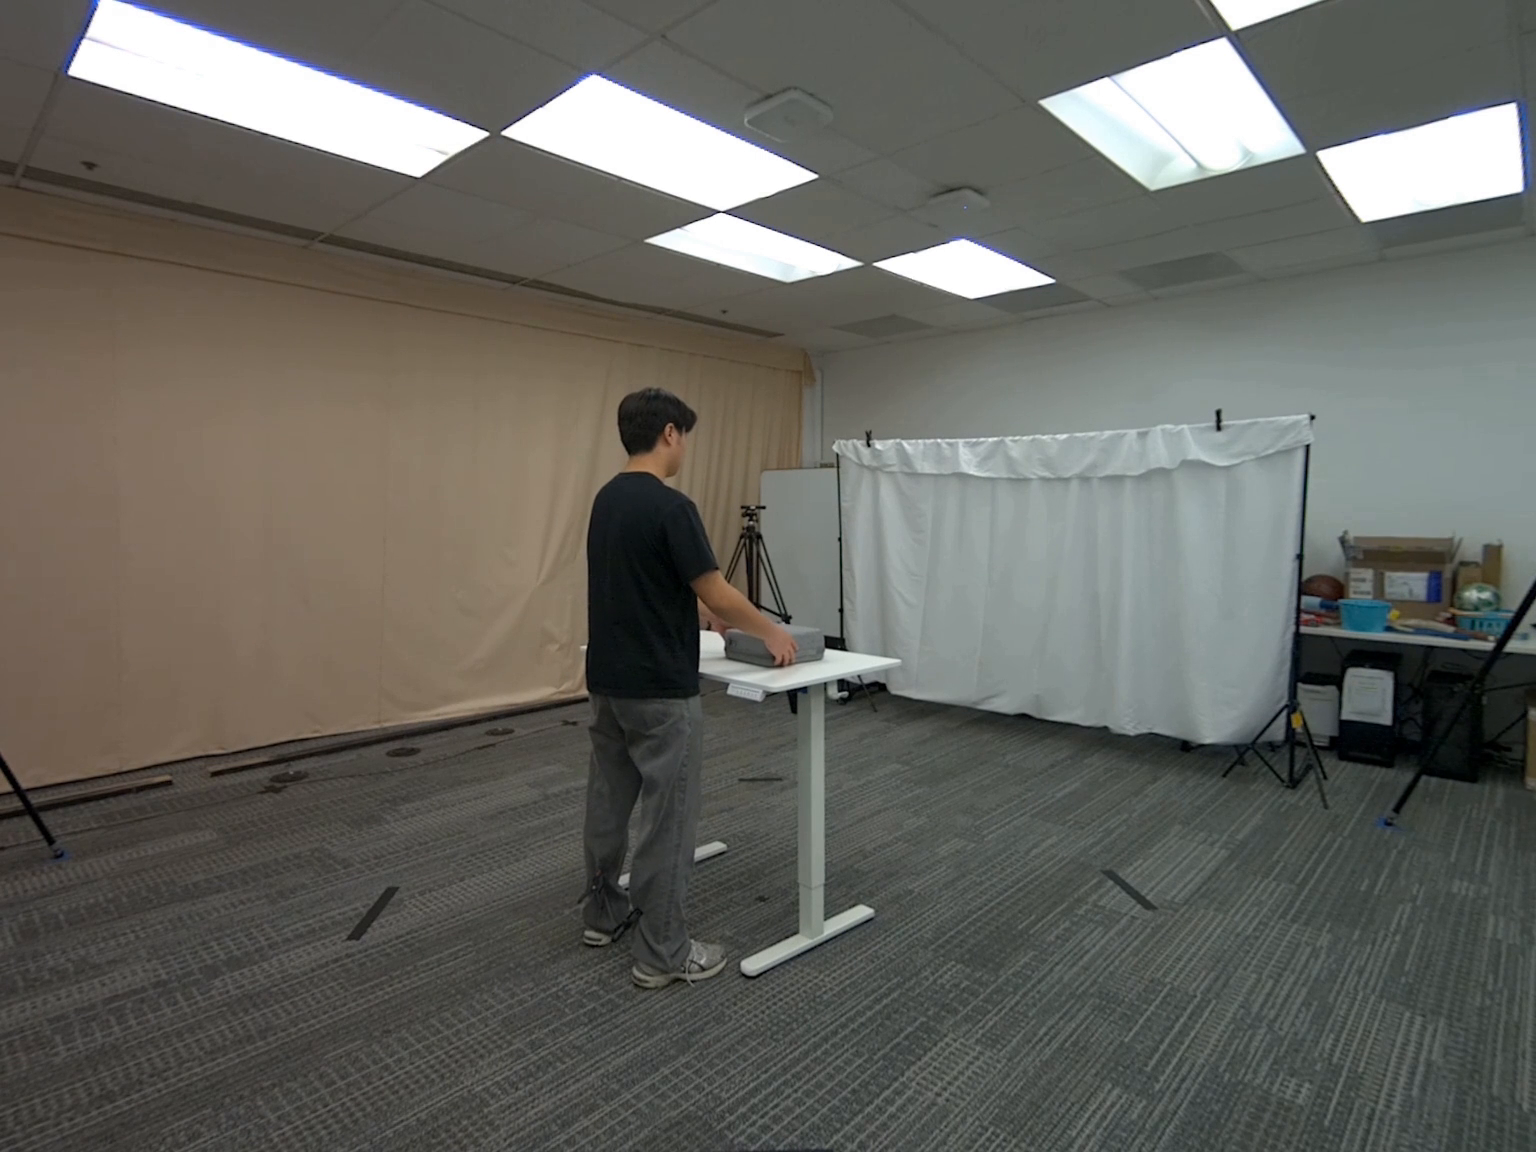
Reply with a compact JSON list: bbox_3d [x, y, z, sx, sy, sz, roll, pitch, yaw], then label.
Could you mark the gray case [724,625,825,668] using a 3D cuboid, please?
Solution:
[{"bbox_3d":[0.025,0.225,2.795,0.255,0.103,0.296,-4,5,-38],"label":"gray case"}]
